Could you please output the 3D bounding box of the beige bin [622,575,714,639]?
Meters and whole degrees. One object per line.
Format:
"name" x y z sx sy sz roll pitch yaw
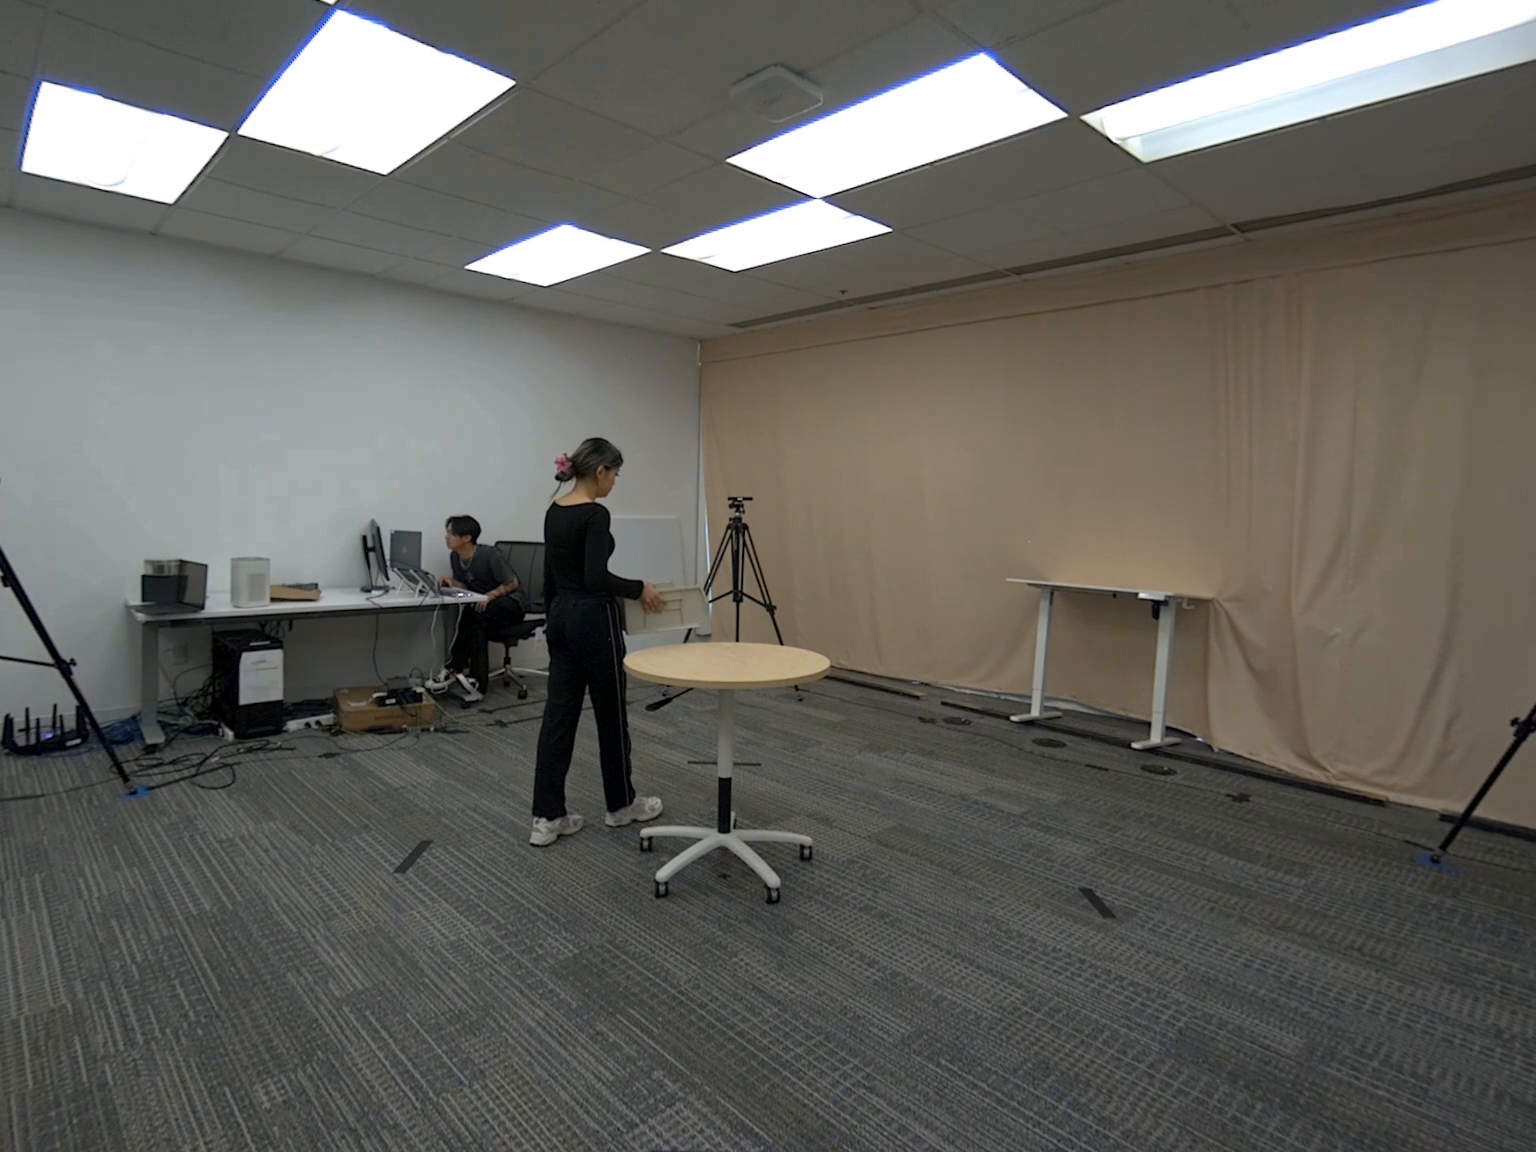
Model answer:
"beige bin" -0.499 0.124 3.696 0.372 0.188 0.430 -7 5 -23
